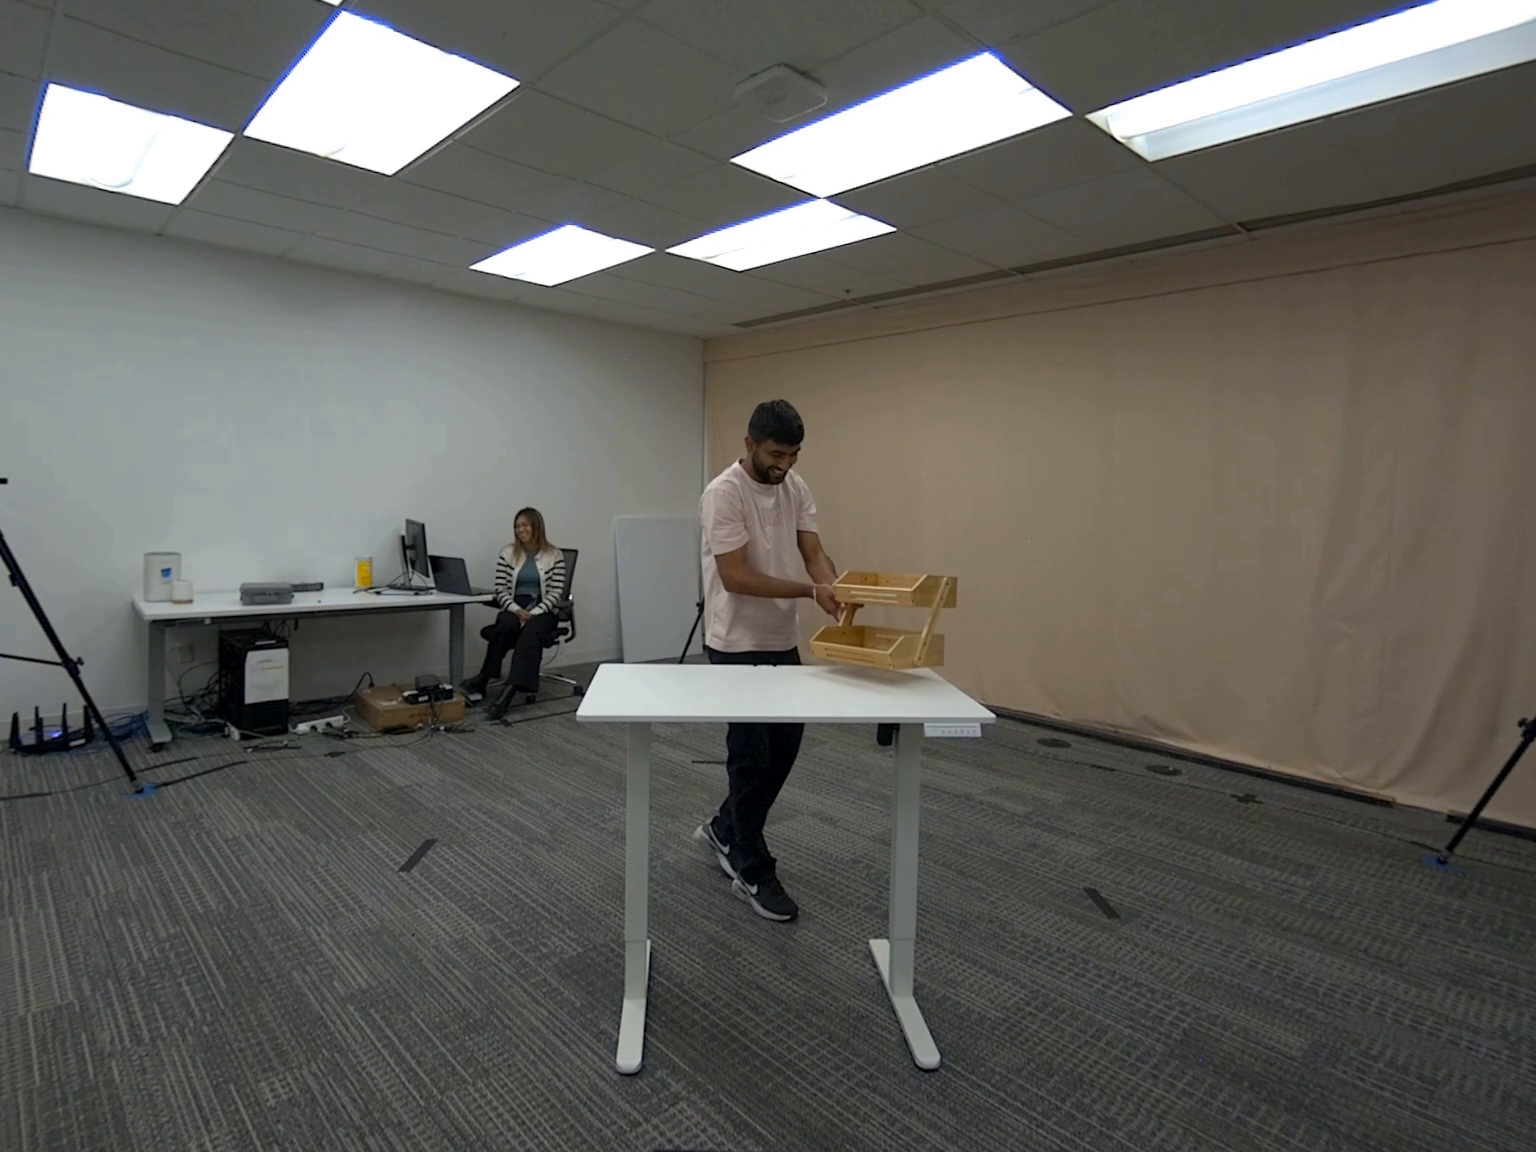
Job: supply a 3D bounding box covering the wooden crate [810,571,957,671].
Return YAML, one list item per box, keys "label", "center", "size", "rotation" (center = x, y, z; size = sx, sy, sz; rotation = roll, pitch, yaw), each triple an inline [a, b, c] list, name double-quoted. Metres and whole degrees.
- label: "wooden crate"
  center: [0.328, 0.120, 2.475]
  size: [0.294, 0.273, 0.332]
  rotation: [3, 0, -44]
